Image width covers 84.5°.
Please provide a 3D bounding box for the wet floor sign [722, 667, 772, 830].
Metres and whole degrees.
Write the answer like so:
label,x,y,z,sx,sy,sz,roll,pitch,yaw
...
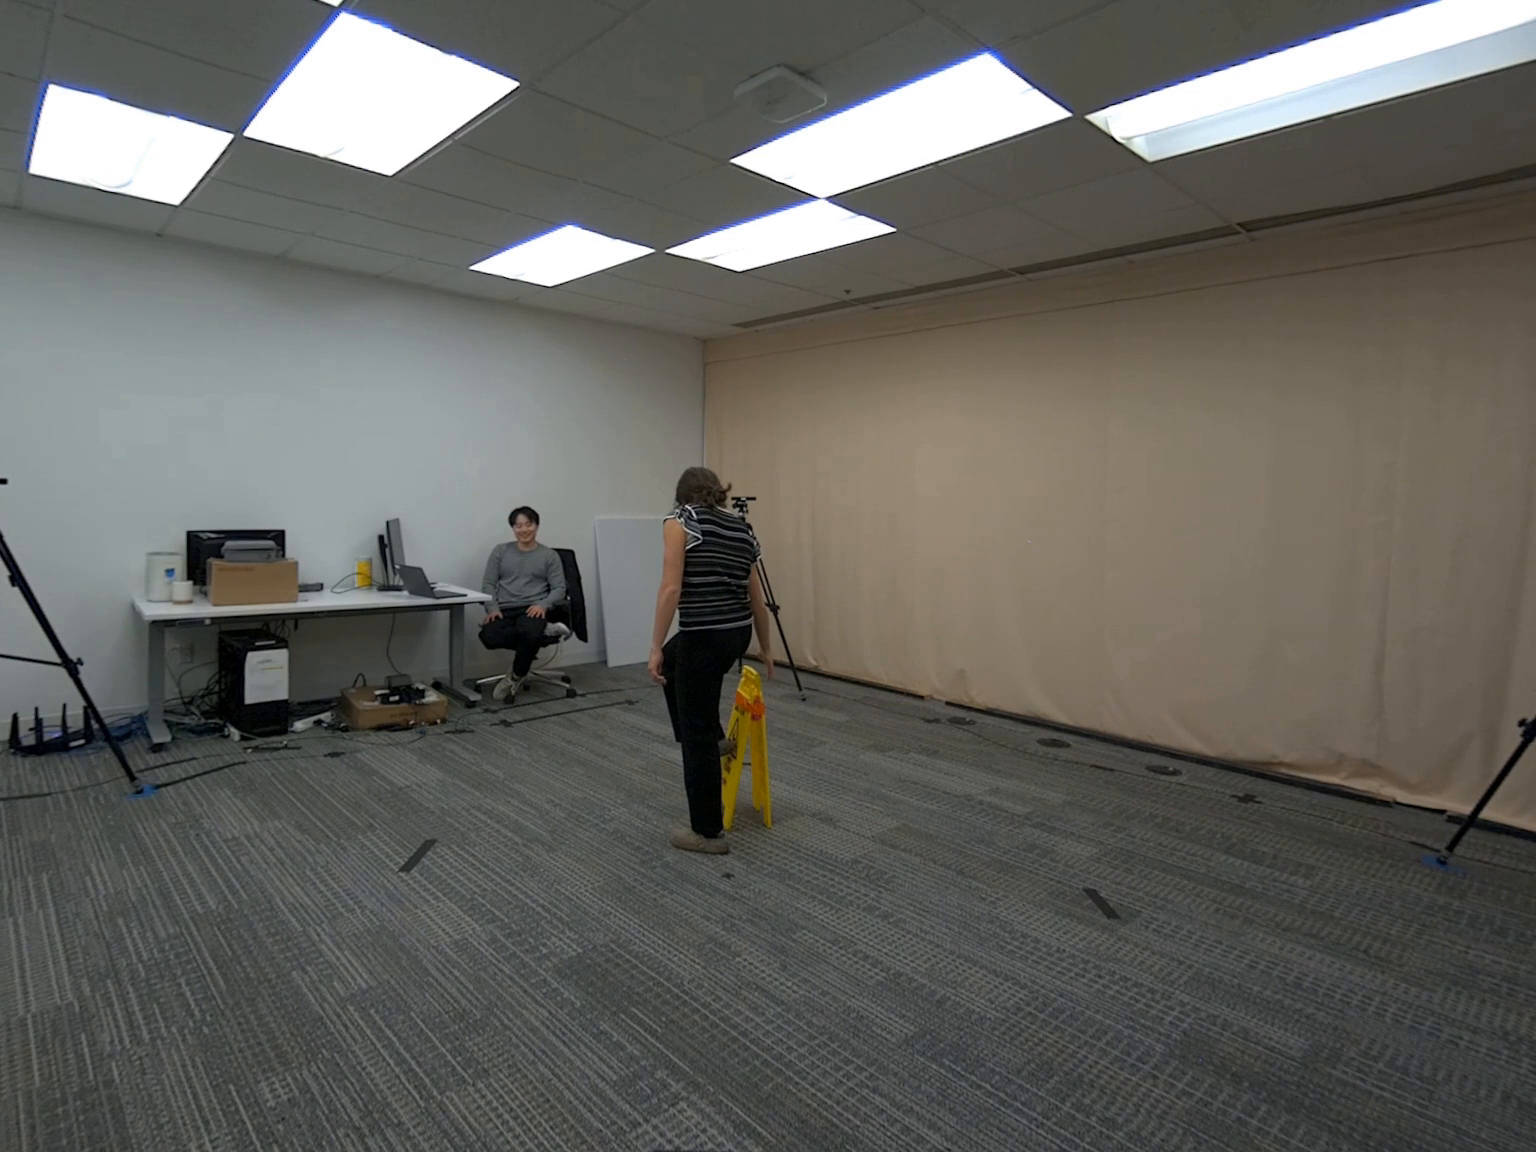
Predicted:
label,x,y,z,sx,sy,sz,roll,pitch,yaw
wet floor sign,-0.099,0.726,3.661,0.286,0.645,0.286,4,3,-15
